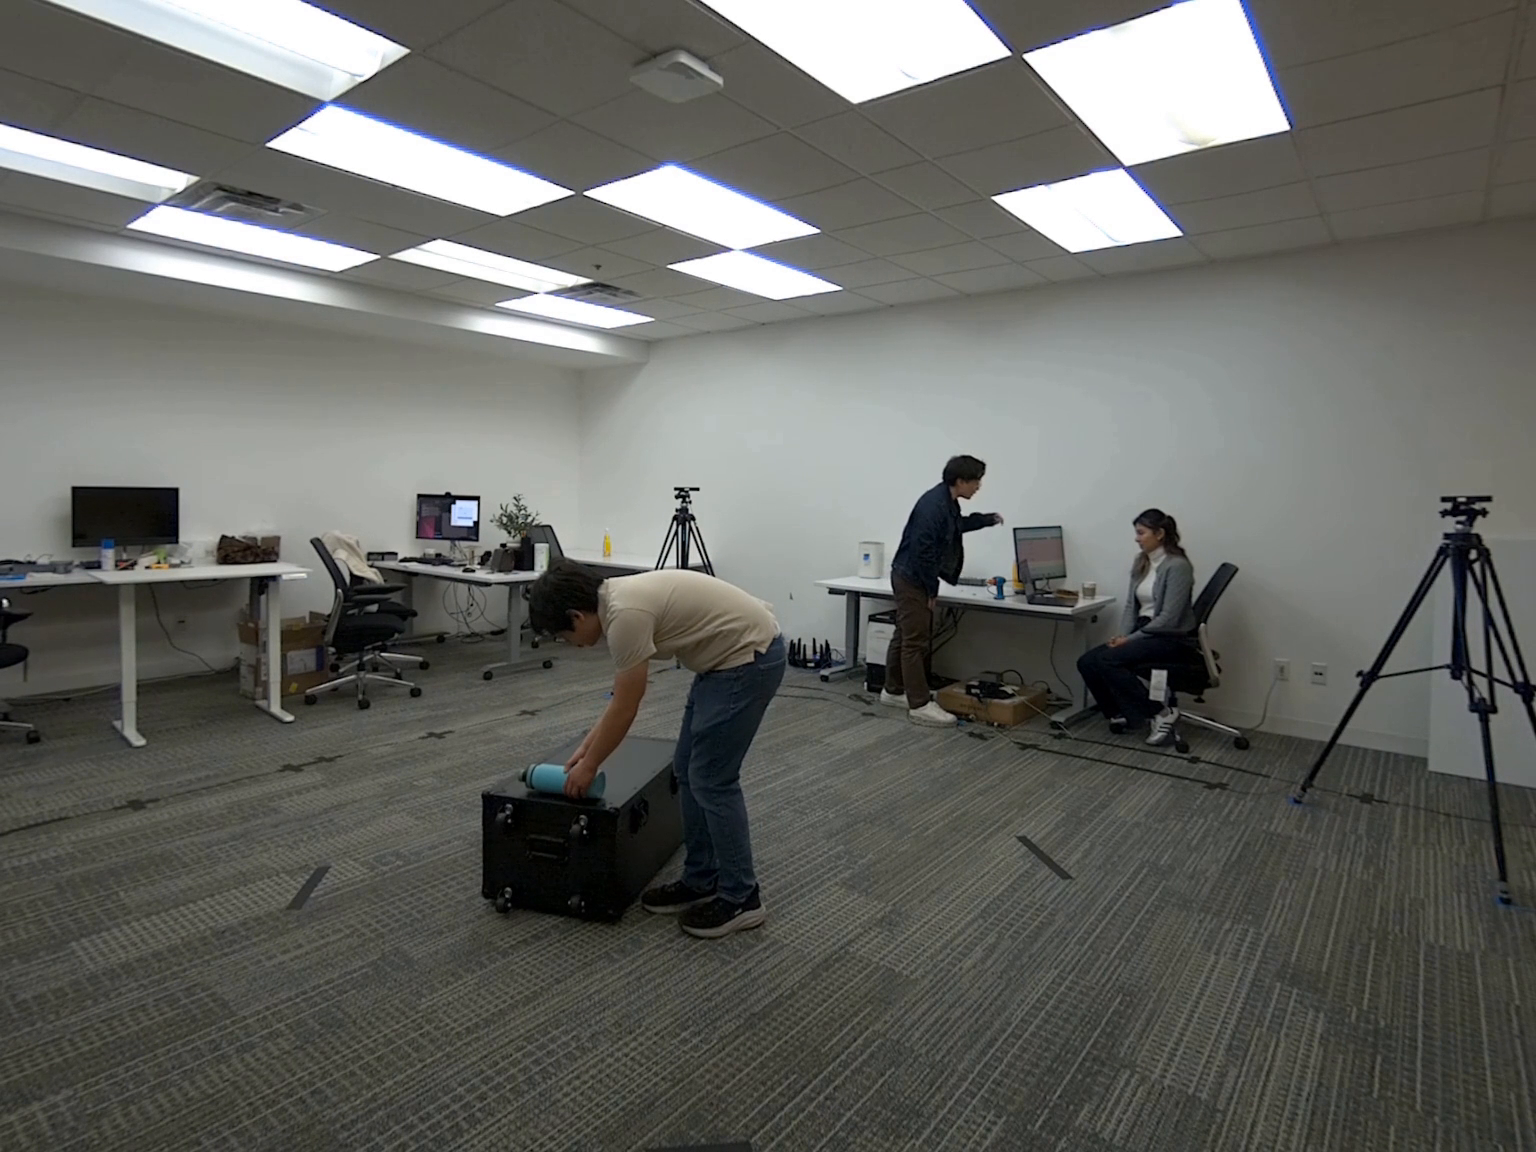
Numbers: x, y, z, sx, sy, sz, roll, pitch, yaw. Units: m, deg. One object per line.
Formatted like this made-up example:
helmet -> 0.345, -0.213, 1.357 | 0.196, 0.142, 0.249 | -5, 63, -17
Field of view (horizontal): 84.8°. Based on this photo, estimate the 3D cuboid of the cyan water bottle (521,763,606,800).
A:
cyan water bottle -> -0.696, 0.670, 2.810 | 0.287, 0.092, 0.091 | 3, 4, 13
